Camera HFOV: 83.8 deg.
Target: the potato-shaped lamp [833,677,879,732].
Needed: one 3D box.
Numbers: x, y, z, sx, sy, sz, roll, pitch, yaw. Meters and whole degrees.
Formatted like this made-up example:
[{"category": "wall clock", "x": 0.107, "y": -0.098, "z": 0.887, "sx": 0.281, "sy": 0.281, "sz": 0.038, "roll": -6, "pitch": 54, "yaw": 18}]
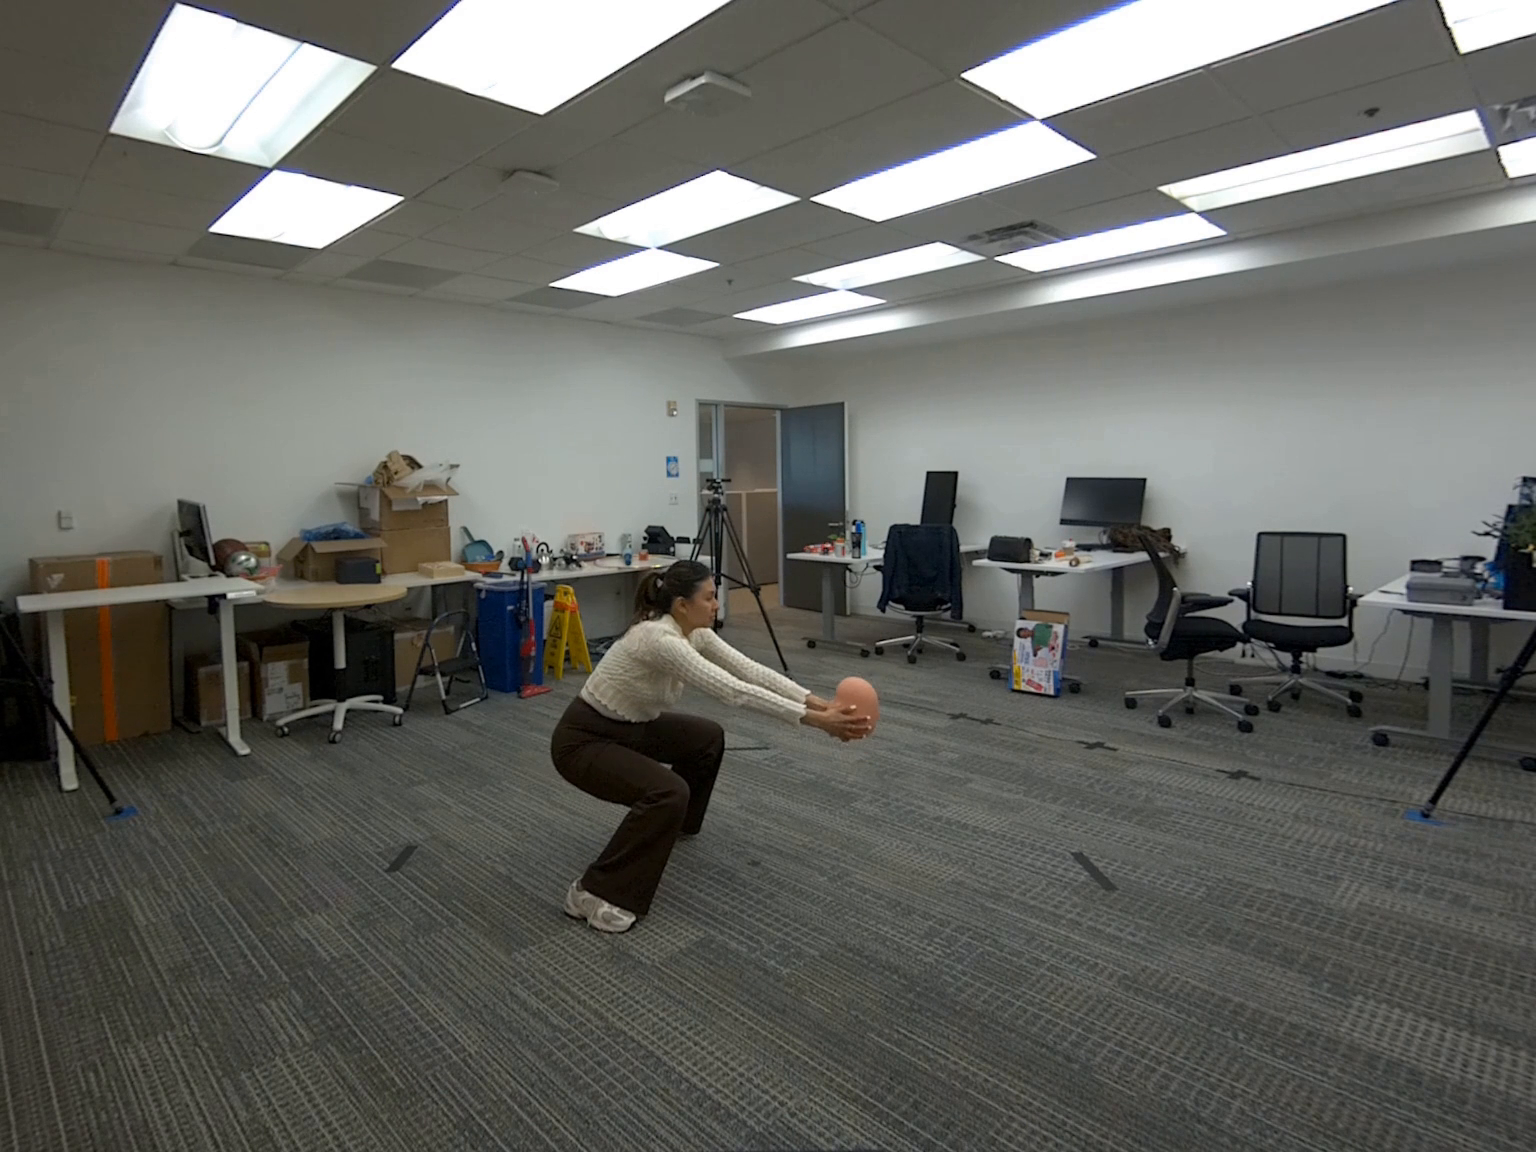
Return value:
[{"category": "potato-shaped lamp", "x": 0.281, "y": 0.426, "z": 2.865, "sx": 0.173, "sy": 0.198, "sz": 0.163, "roll": -2, "pitch": 1, "yaw": 9}]
